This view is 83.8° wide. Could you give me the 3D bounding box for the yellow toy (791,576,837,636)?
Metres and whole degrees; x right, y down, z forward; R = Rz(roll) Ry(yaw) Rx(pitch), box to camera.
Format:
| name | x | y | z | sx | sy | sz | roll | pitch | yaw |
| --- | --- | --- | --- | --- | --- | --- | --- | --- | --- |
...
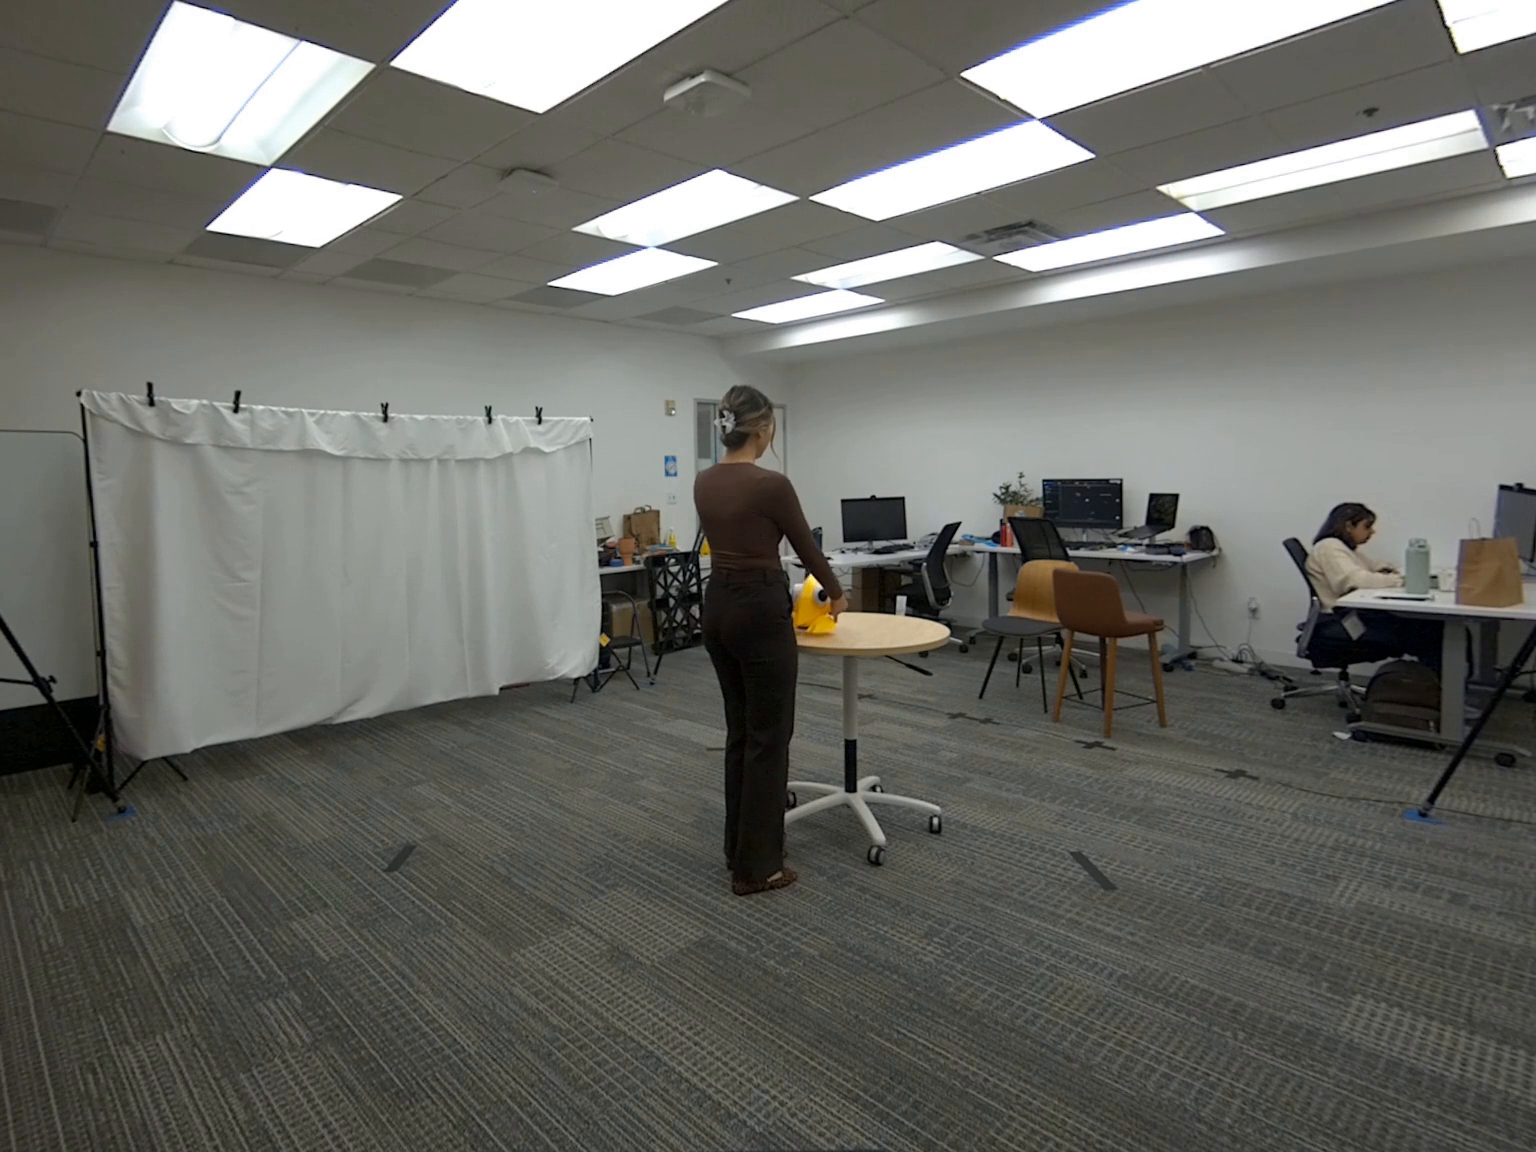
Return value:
| name | x | y | z | sx | sy | sz | roll | pitch | yaw |
| --- | --- | --- | --- | --- | --- | --- | --- | --- | --- |
| yellow toy | 0.166 | 0.077 | 3.281 | 0.210 | 0.230 | 0.189 | 1 | 6 | 32 |
